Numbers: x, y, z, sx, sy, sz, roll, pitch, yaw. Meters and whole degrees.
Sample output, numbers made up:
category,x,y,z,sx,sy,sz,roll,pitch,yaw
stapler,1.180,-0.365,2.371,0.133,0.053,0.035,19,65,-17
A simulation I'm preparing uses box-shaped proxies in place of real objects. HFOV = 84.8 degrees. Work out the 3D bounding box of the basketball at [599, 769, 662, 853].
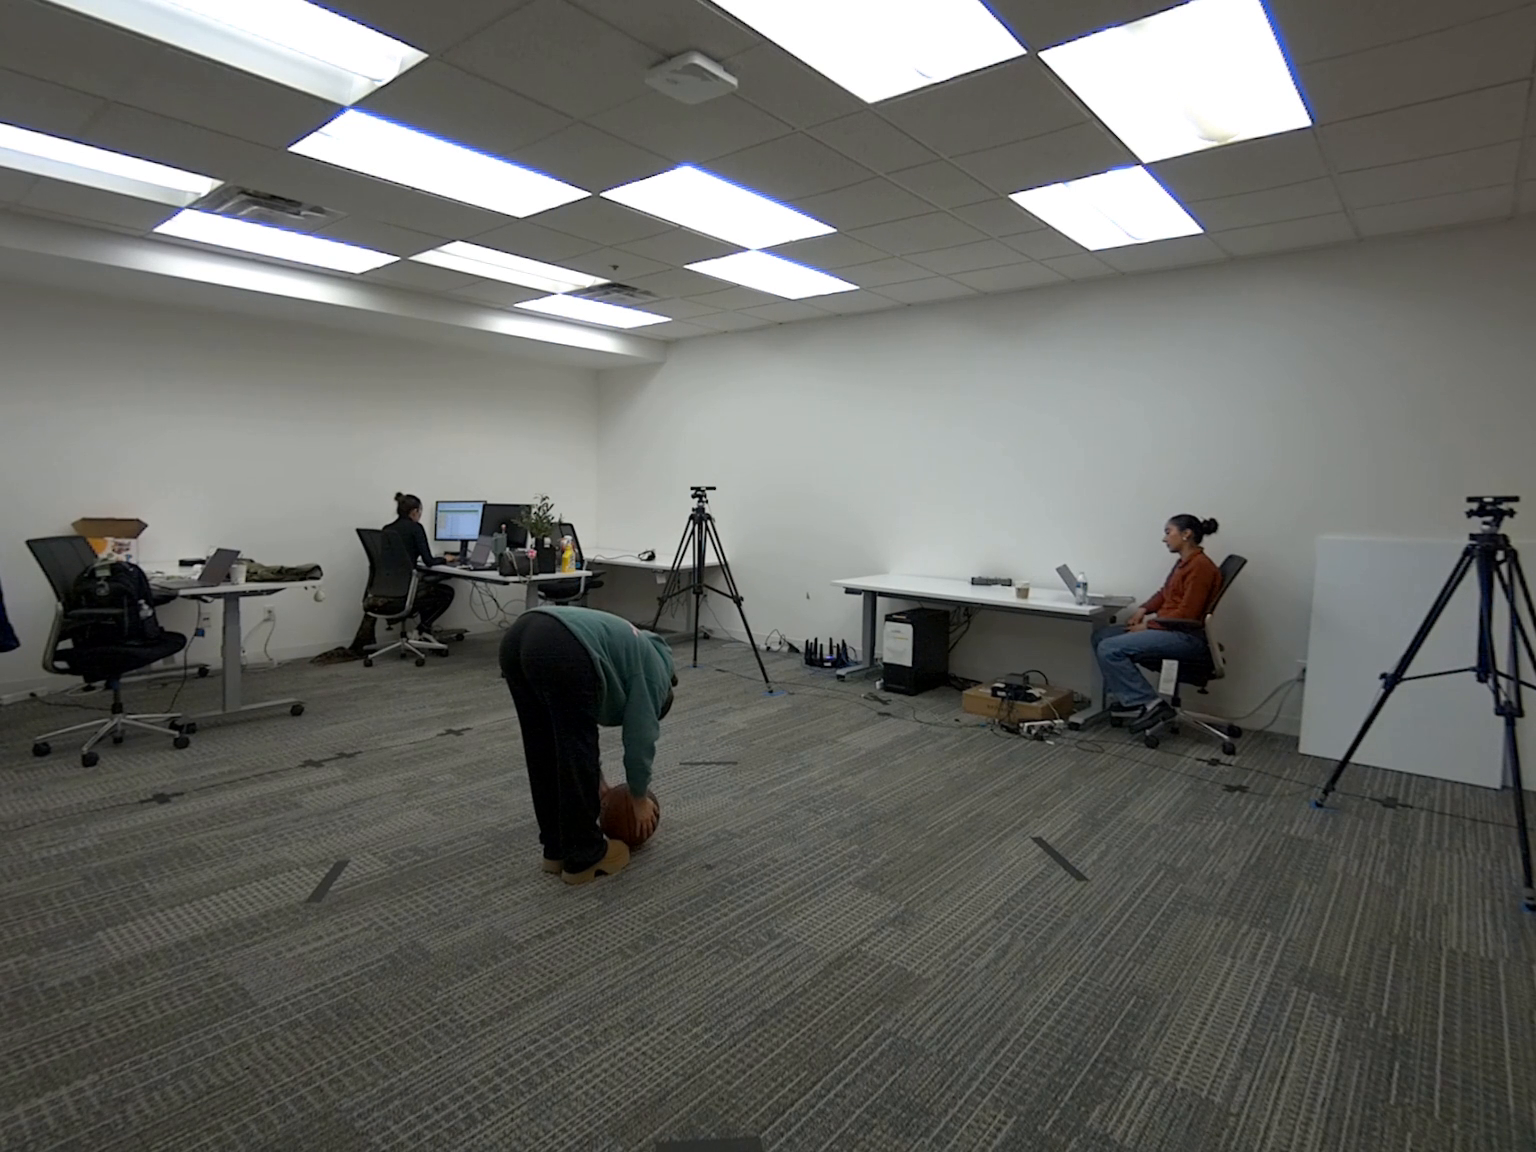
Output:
category,x,y,z,sx,sy,sz,roll,pitch,yaw
basketball,-0.542,0.908,3.274,0.235,0.235,0.237,1,4,-2
